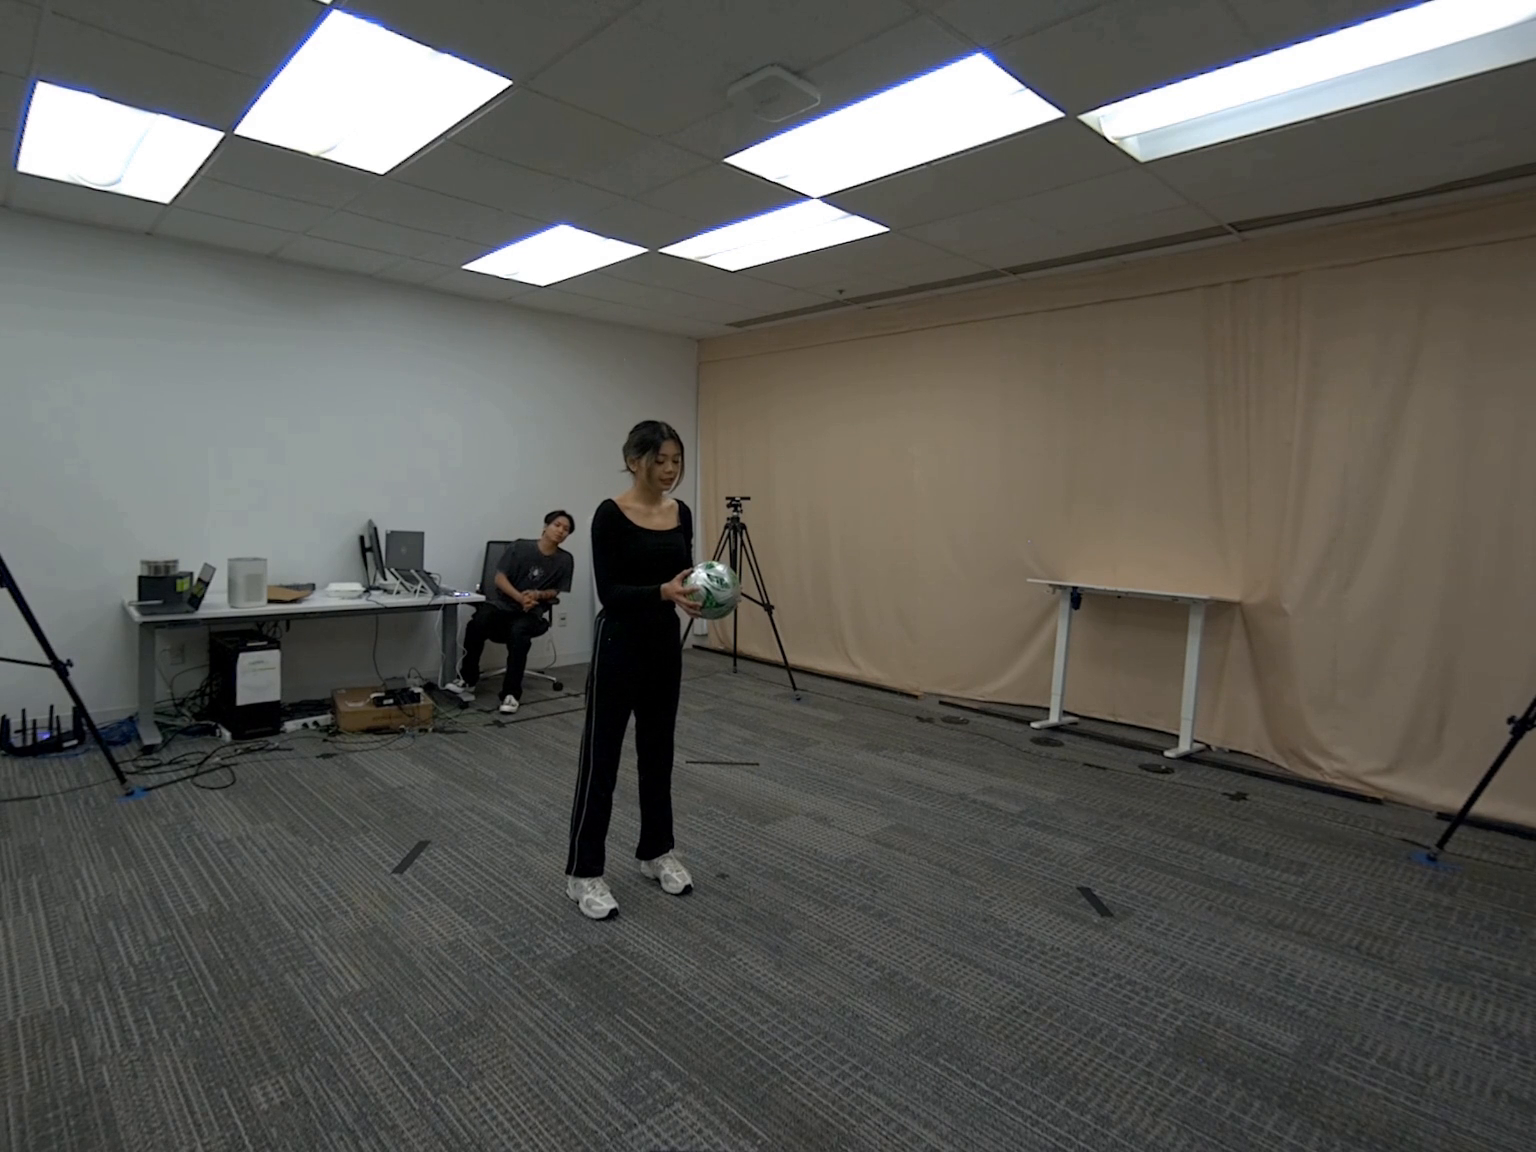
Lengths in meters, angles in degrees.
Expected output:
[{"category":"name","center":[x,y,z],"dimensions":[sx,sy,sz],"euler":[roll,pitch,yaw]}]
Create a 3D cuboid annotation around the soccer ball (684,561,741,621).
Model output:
[{"category":"soccer ball","center":[-0.194,0.049,2.659],"dimensions":[0.187,0.187,0.188],"euler":[1,4,-1]}]
